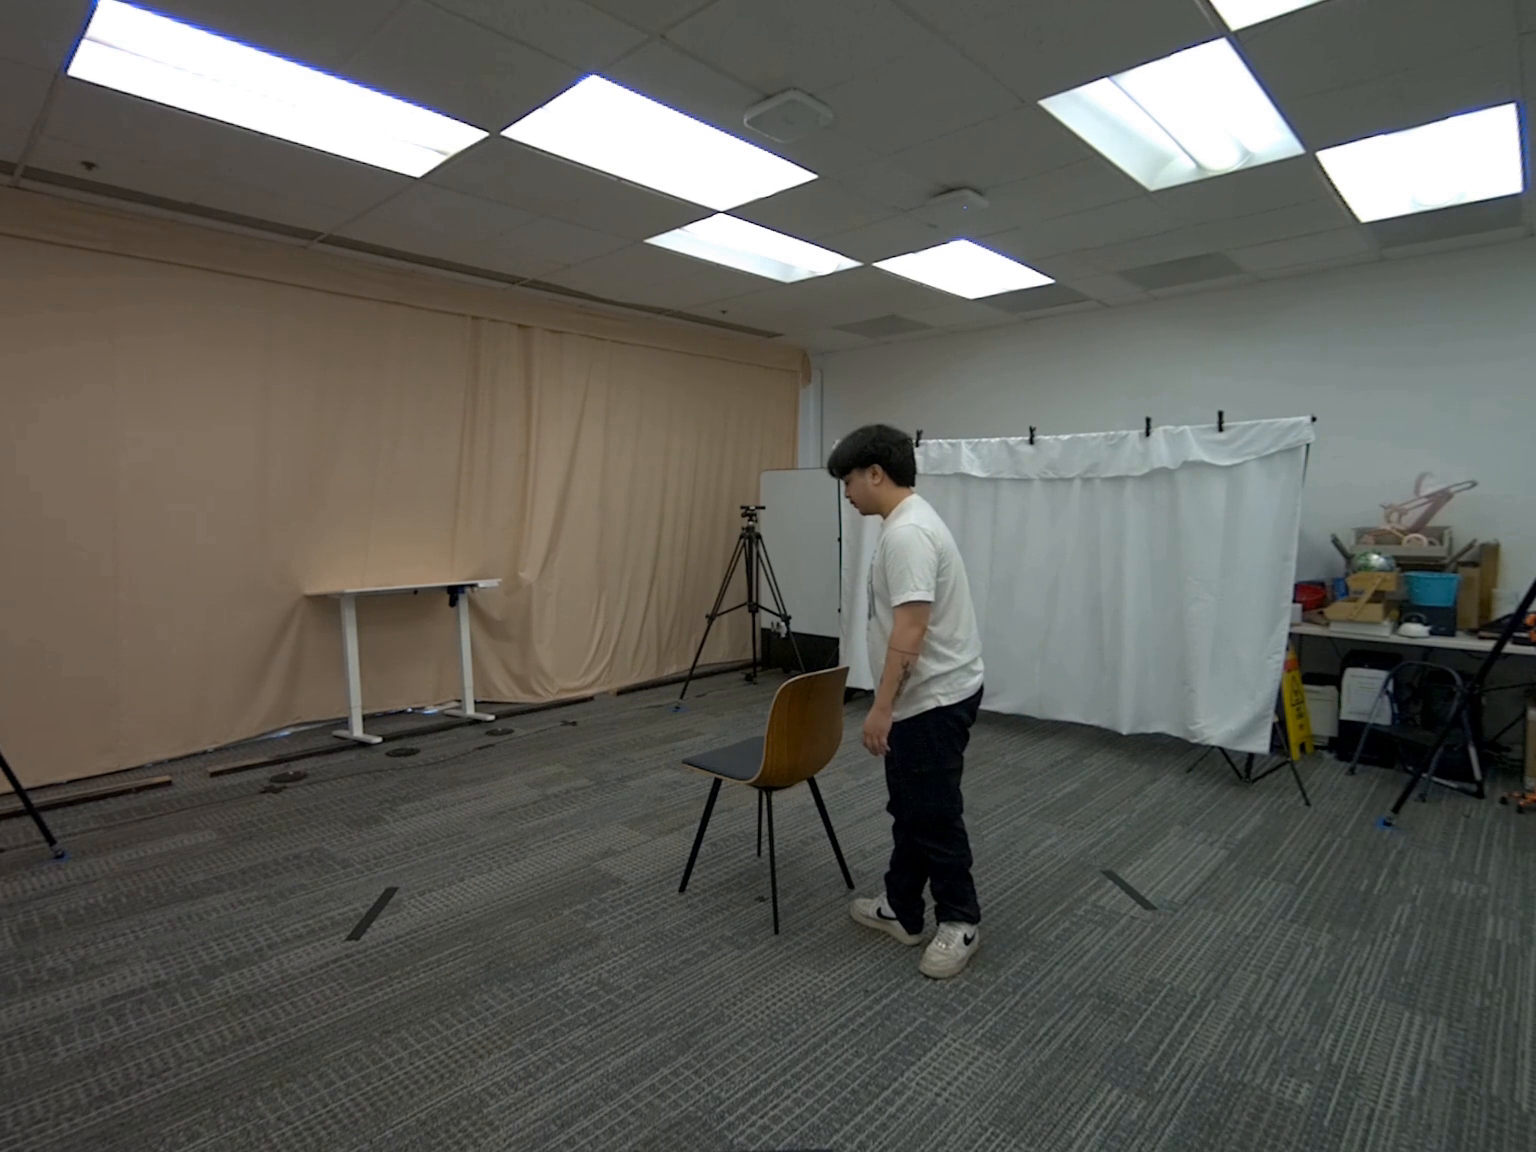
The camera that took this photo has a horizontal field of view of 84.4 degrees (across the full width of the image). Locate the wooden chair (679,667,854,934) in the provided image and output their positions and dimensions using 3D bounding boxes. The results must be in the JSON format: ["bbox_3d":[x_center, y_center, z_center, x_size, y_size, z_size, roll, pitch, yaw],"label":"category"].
[{"bbox_3d":[-0.010,0.712,3.024,0.541,0.874,0.463,8,8,41],"label":"wooden chair"}]
